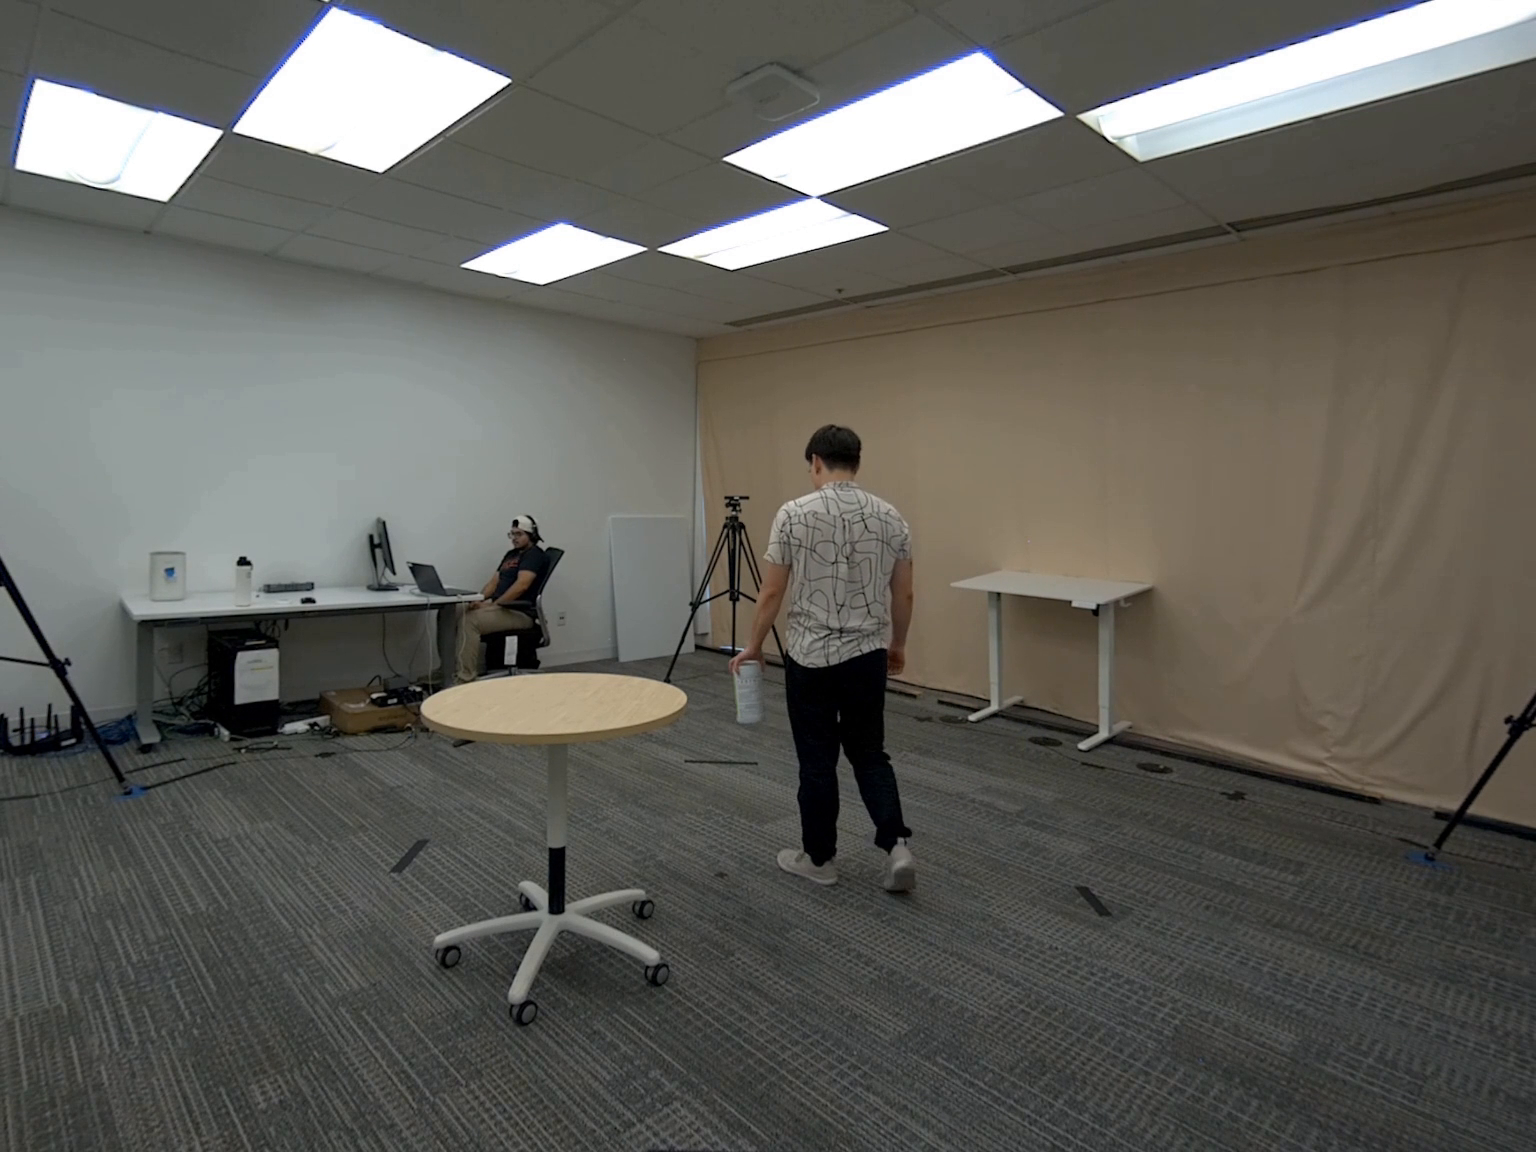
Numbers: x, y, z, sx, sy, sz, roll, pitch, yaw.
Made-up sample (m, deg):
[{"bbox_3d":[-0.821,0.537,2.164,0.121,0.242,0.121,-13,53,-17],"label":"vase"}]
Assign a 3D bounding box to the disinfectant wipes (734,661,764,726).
[{"bbox_3d":[-0.061,0.432,3.119,0.118,0.217,0.118,-4,4,-1],"label":"disinfectant wipes"}]
